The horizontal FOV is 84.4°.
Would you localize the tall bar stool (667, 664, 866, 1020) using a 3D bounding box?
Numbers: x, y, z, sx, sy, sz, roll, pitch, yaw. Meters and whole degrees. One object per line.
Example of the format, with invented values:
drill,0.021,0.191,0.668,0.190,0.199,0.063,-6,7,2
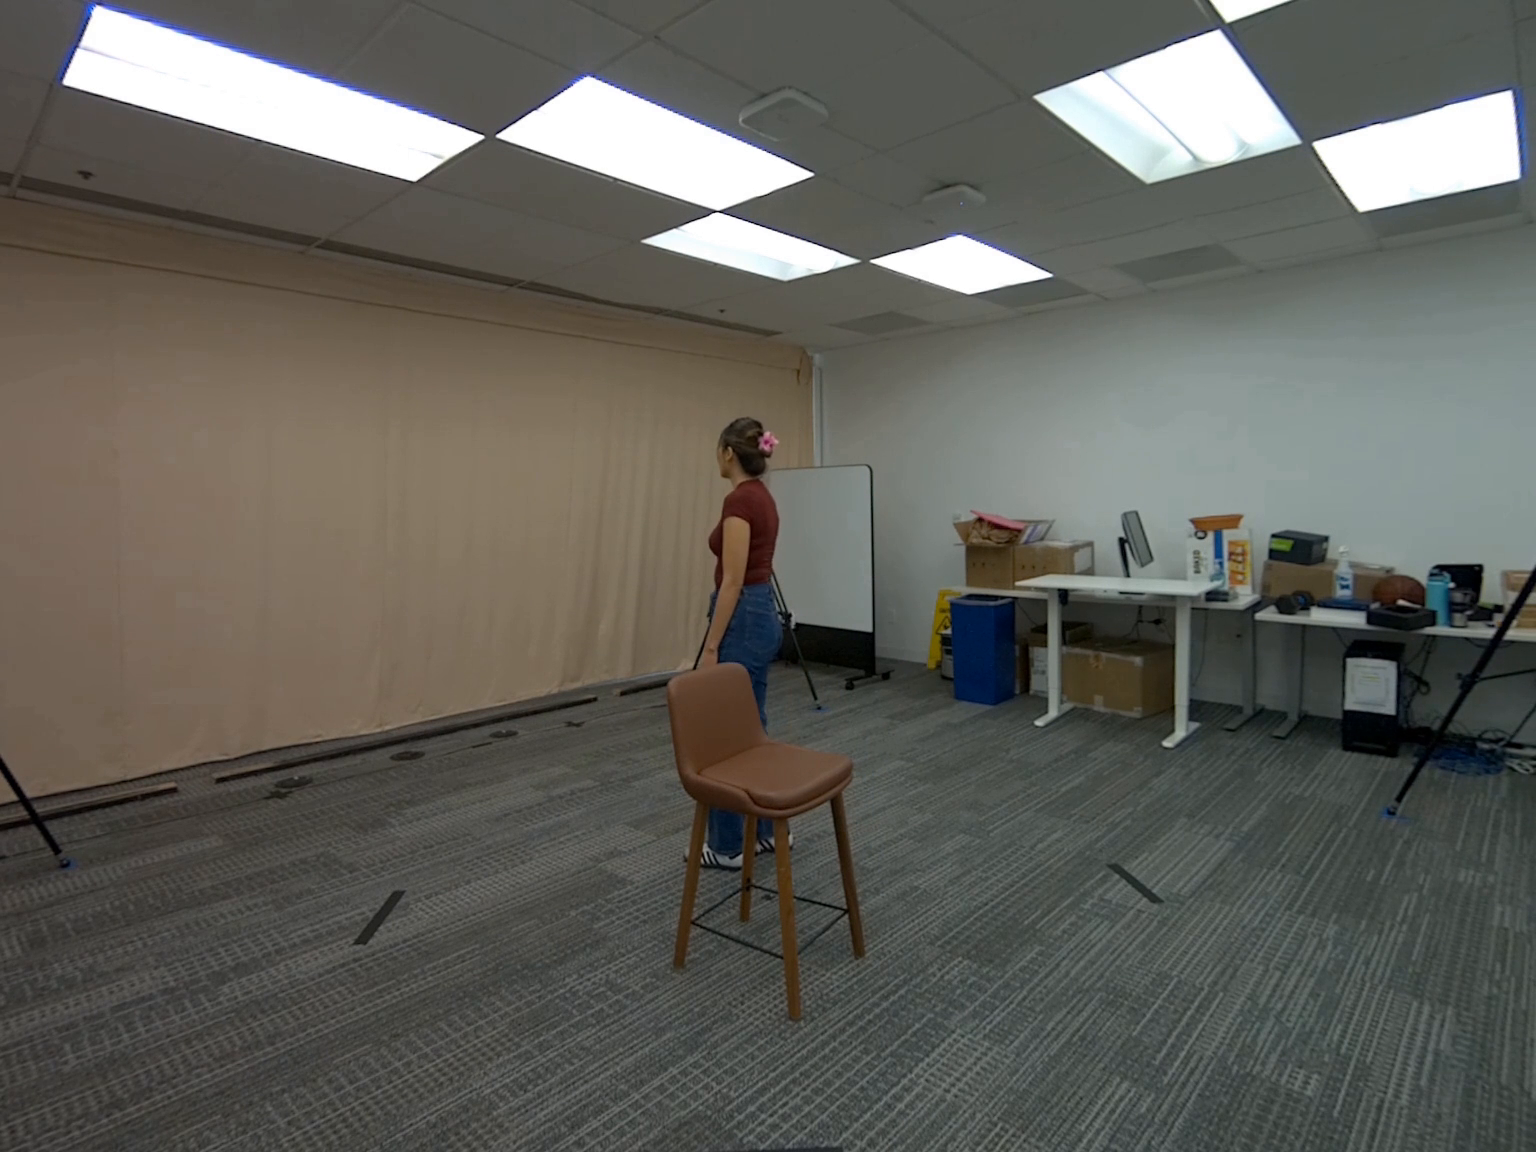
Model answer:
tall bar stool,-0.004,0.743,2.543,0.482,0.888,0.443,-1,3,36
